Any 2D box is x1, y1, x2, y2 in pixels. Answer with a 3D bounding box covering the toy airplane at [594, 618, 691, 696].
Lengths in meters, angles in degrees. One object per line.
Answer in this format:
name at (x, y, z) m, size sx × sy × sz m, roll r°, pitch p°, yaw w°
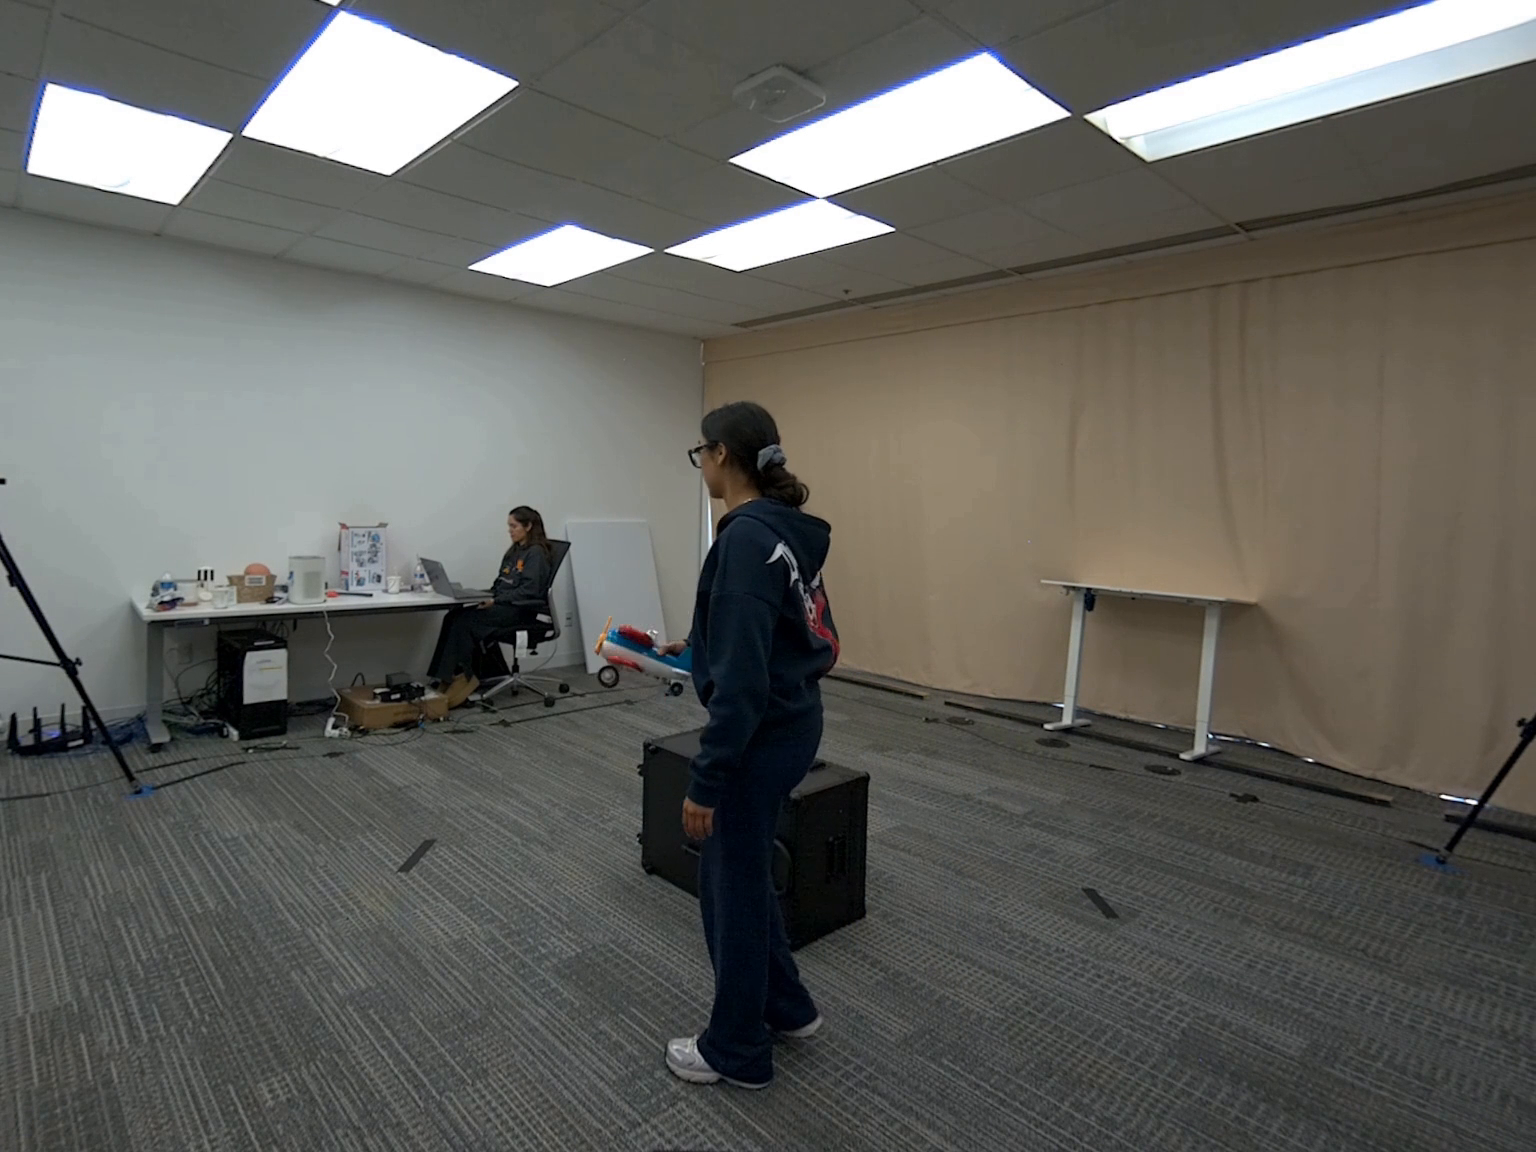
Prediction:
toy airplane at (-0.316, 0.231, 2.215) m, size 0.252 × 0.158 × 0.255 m, roll 14°, pitch -15°, yaw -33°
